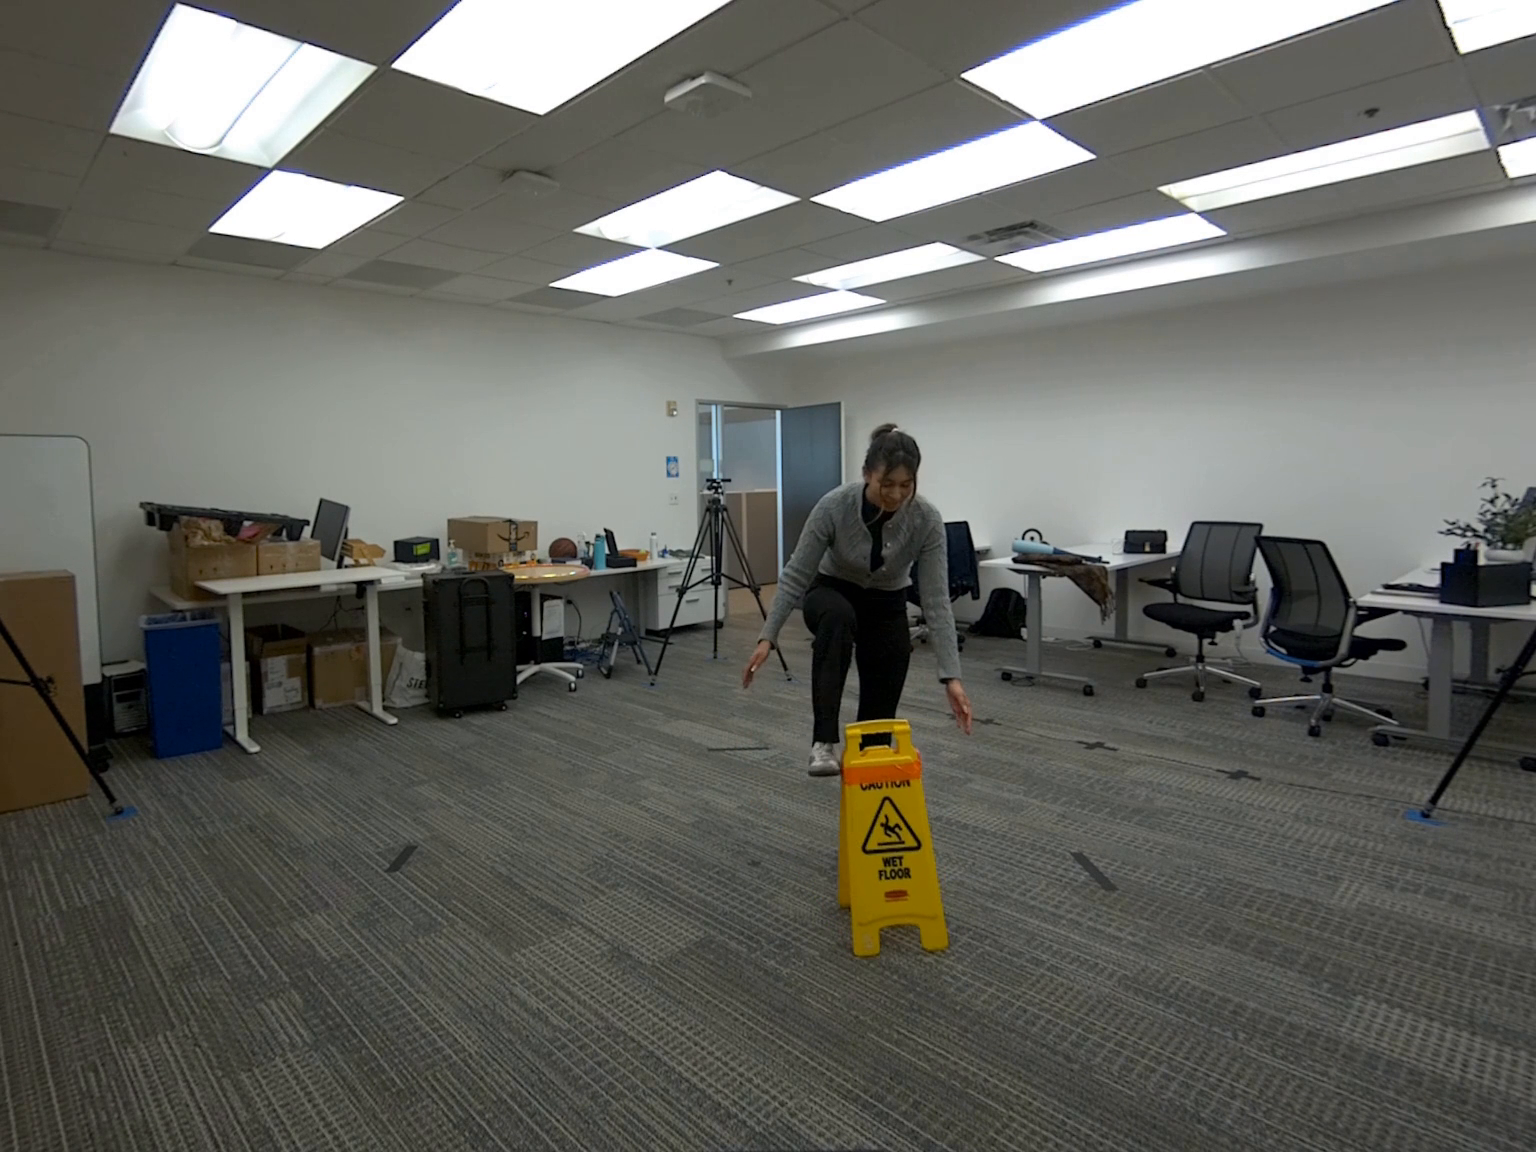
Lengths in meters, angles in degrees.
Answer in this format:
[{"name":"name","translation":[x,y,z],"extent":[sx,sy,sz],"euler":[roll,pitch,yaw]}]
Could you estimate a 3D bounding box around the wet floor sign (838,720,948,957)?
[{"name":"wet floor sign","translation":[0.371,0.769,2.615],"extent":[0.281,0.643,0.292],"euler":[-4,5,-3]}]
